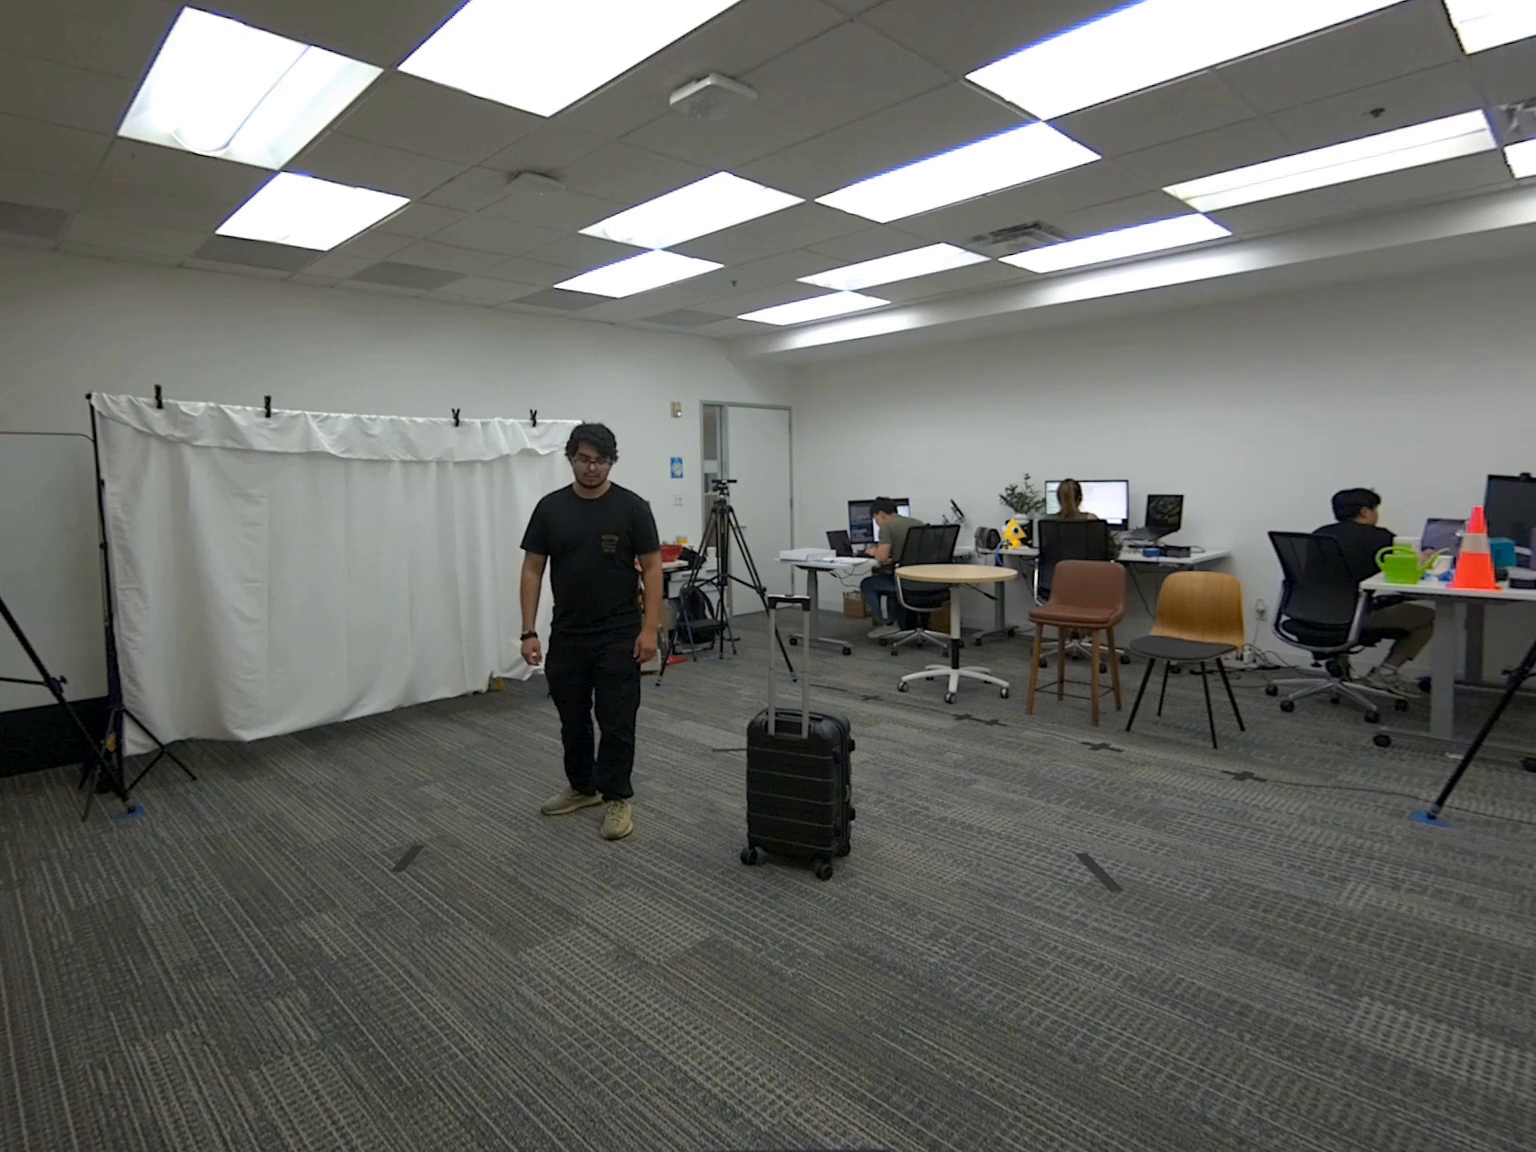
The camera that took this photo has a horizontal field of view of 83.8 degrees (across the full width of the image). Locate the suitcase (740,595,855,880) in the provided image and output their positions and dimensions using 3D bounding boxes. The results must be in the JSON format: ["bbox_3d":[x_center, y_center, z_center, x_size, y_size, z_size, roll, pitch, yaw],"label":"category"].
[{"bbox_3d":[0.116,0.566,3.141,0.393,0.978,0.251,1,1,24],"label":"suitcase"}]
